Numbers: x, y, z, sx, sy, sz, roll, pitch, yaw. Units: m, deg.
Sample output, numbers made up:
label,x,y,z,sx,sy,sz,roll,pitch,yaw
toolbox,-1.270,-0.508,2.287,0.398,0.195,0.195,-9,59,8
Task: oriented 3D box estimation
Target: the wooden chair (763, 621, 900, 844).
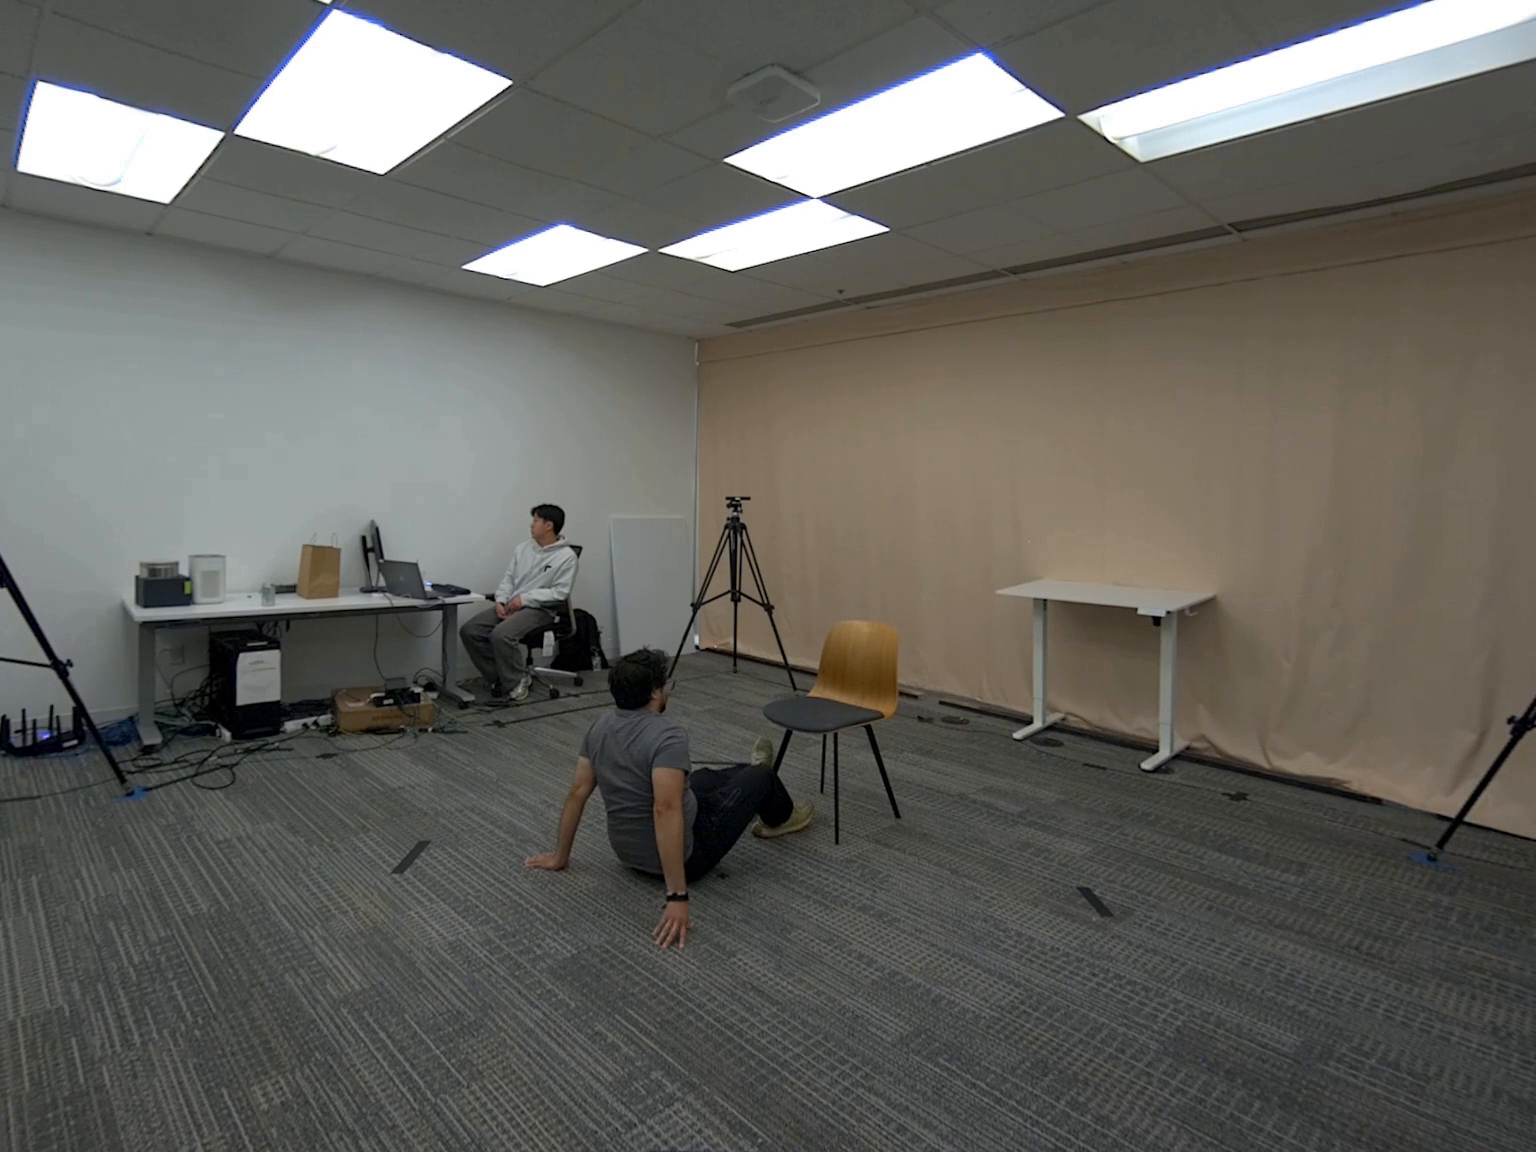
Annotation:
label,x,y,z,sx,sy,sz,roll,pitch,yaw
wooden chair,0.272,0.638,3.691,0.490,0.877,0.510,5,0,44
